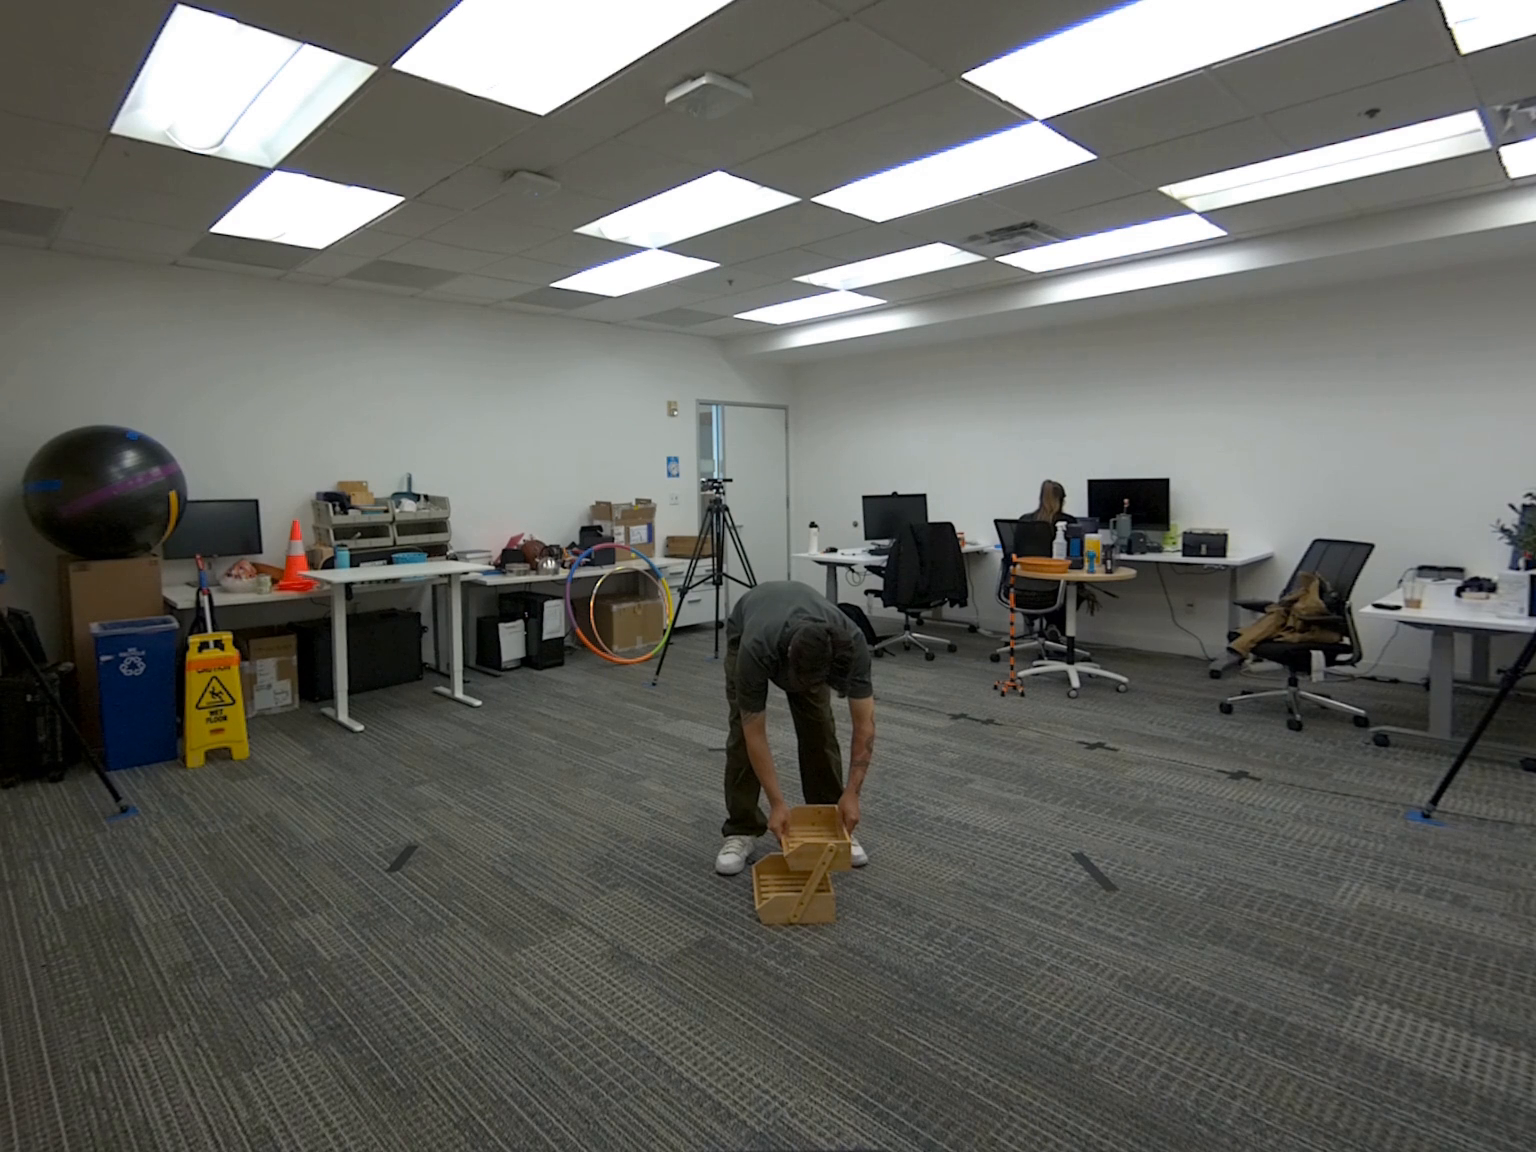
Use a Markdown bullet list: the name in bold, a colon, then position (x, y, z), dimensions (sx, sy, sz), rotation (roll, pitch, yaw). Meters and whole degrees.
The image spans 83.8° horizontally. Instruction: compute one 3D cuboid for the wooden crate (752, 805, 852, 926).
- **wooden crate**: position (0.099, 0.946, 2.816), dimensions (0.301, 0.272, 0.327), rotation (-1, 7, -2)
